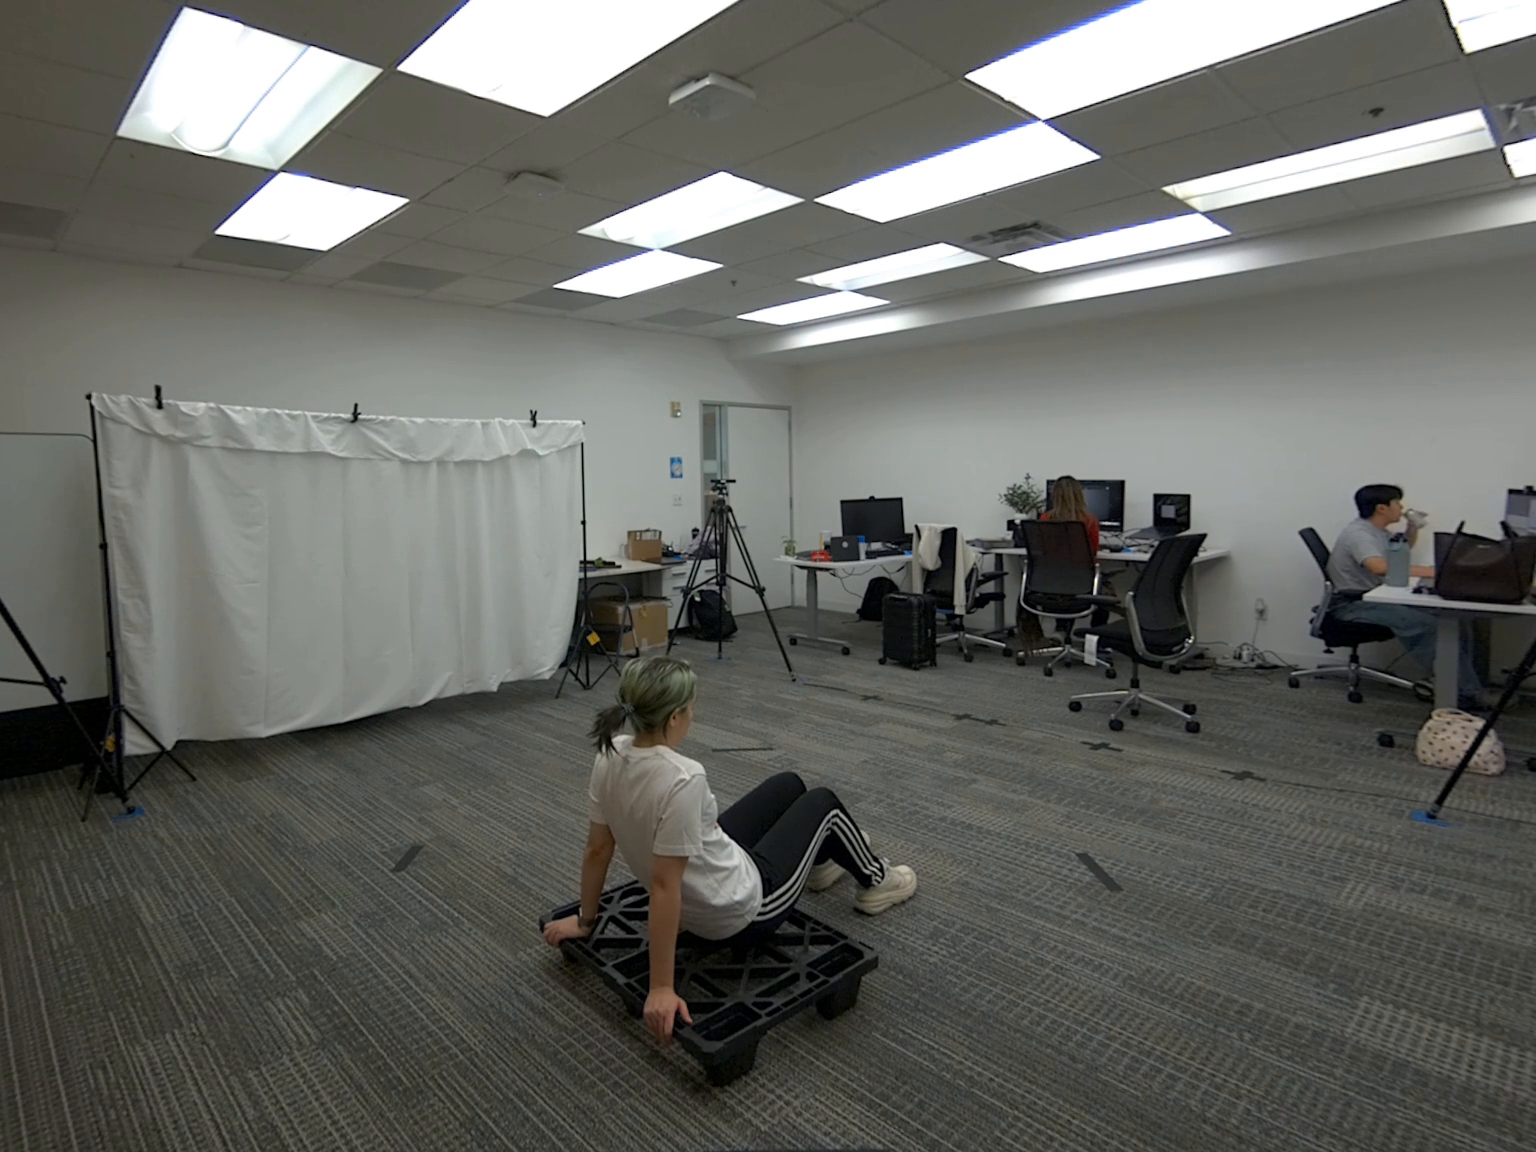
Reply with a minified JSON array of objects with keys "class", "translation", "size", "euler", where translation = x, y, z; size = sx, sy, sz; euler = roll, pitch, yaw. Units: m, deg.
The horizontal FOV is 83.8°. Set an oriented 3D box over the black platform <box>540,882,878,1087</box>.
[{"class":"black platform","translation":[-0.187,1.067,2.397],"size":[0.589,0.142,0.831],"euler":[-6,8,-40]}]
